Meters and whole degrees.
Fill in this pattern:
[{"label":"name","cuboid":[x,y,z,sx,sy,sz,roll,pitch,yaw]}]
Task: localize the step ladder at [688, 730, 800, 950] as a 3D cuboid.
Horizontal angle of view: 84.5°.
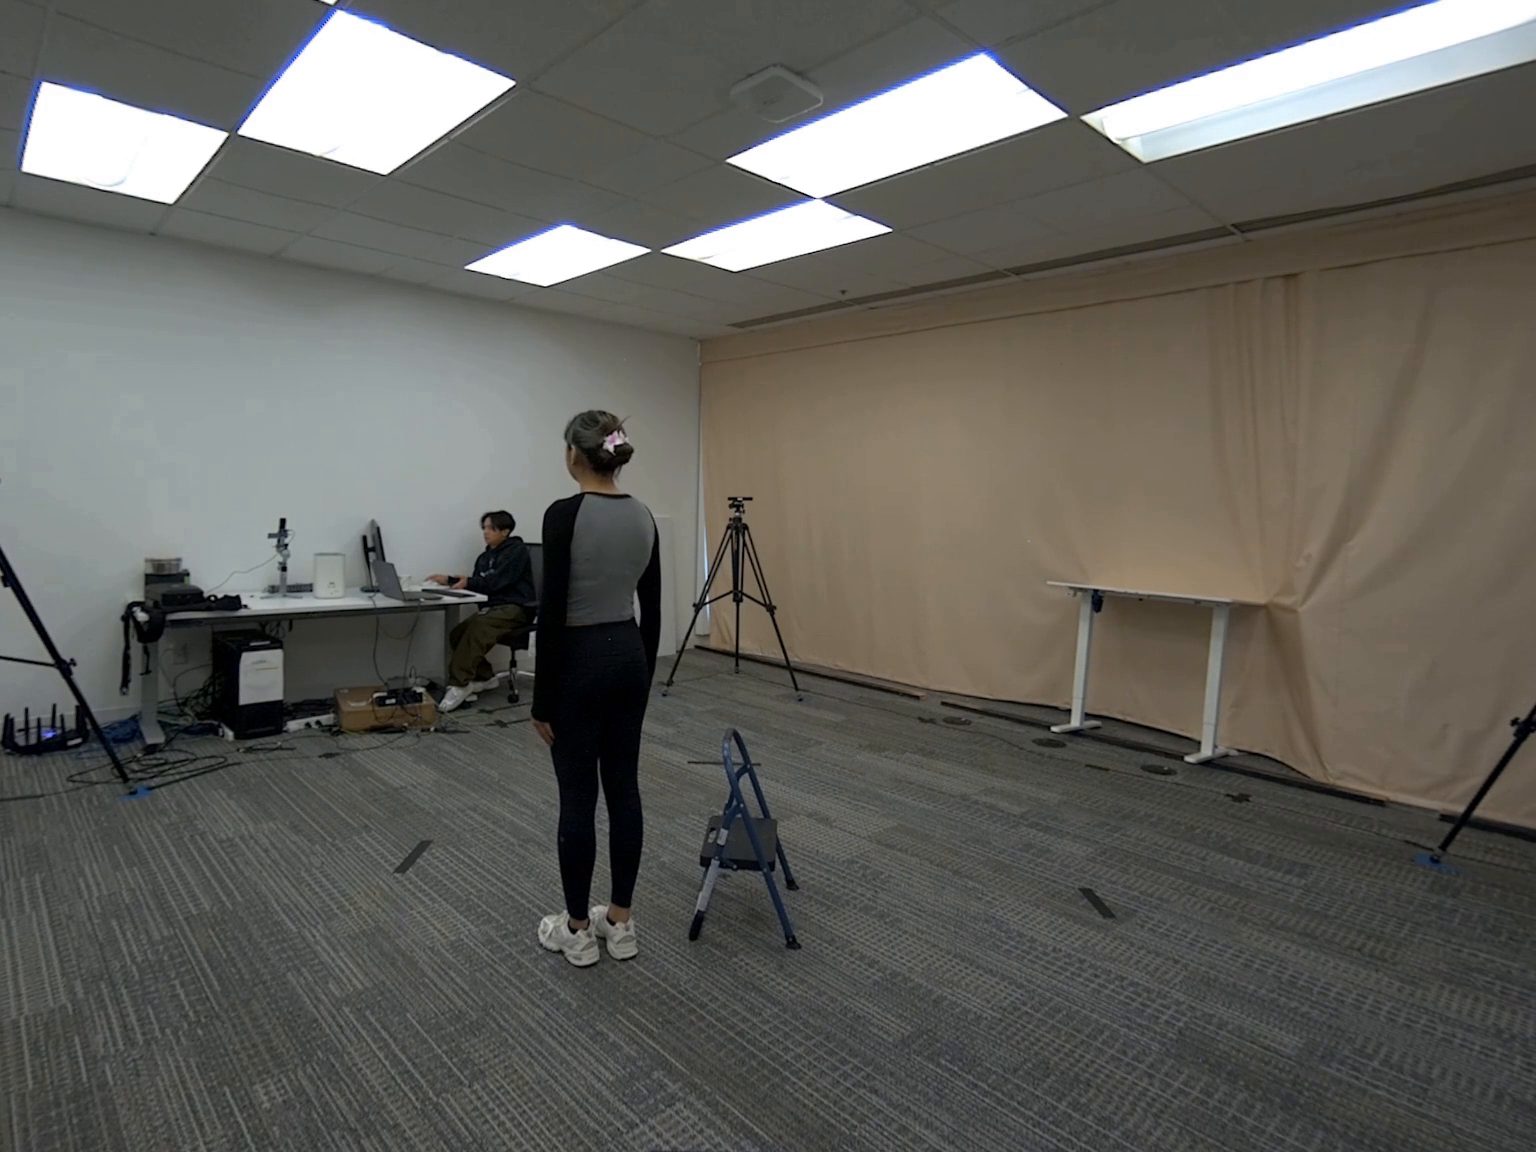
[{"label":"step ladder","cuboid":[-0.071,0.834,2.816,0.350,0.605,0.431,2,3,2]}]
